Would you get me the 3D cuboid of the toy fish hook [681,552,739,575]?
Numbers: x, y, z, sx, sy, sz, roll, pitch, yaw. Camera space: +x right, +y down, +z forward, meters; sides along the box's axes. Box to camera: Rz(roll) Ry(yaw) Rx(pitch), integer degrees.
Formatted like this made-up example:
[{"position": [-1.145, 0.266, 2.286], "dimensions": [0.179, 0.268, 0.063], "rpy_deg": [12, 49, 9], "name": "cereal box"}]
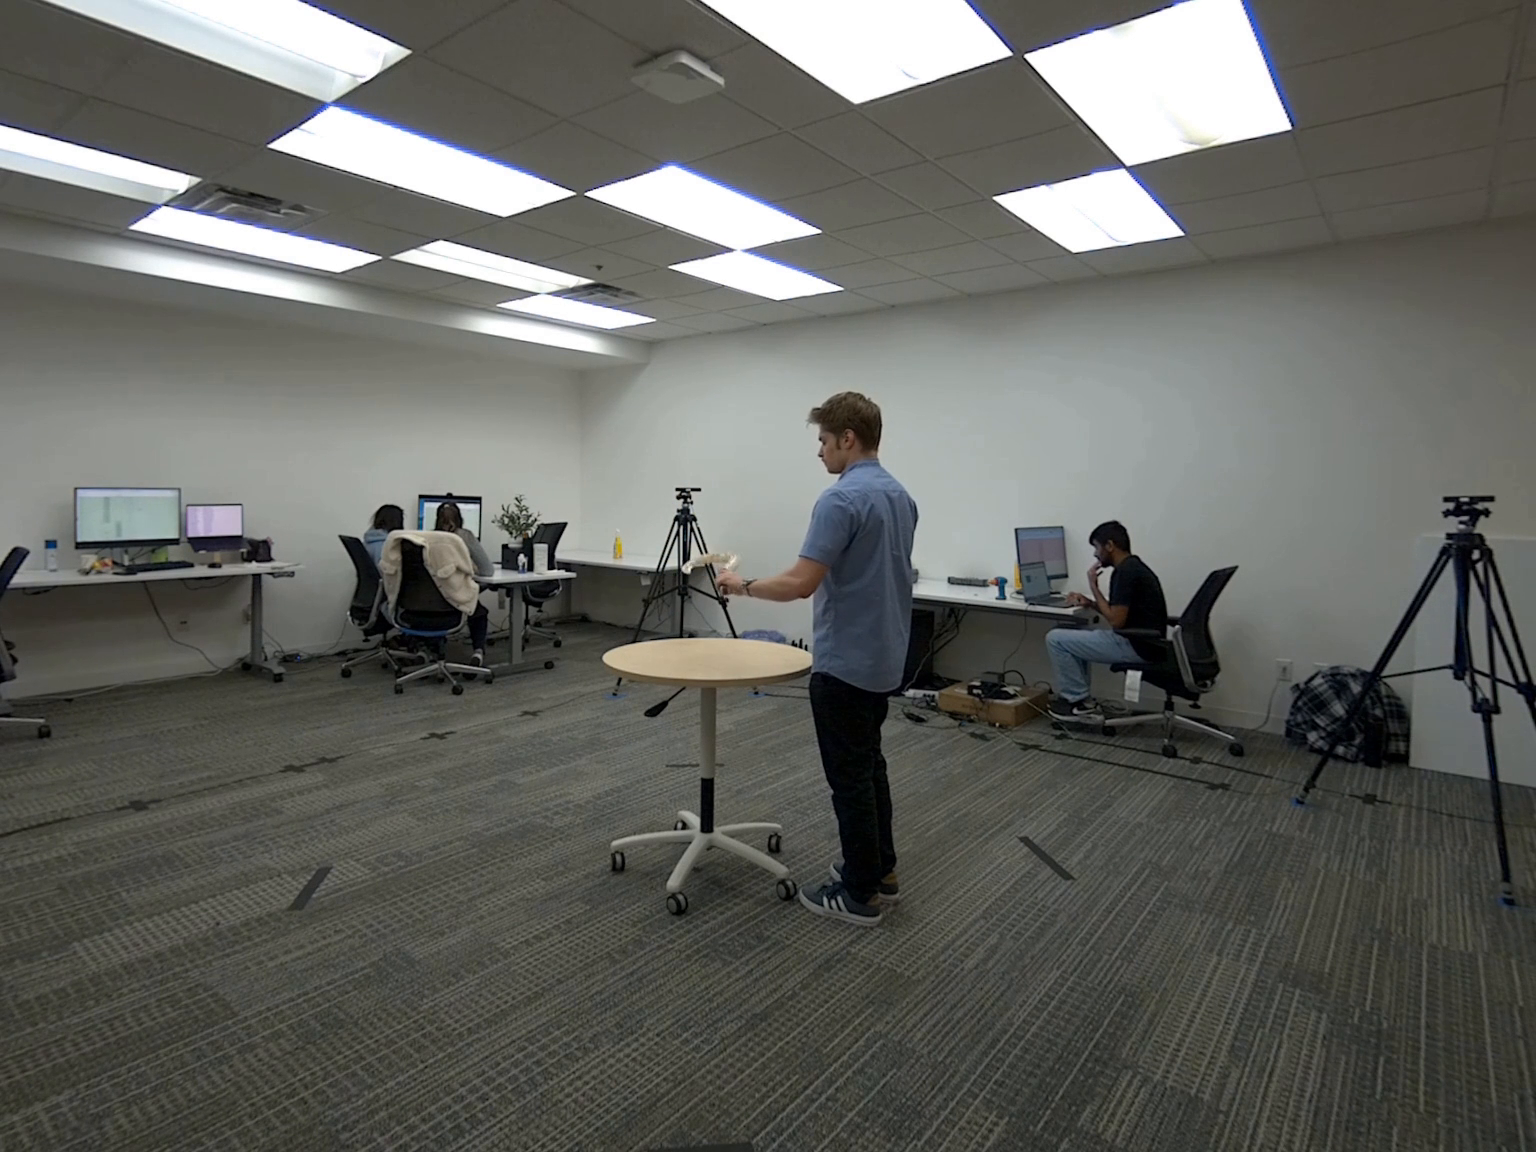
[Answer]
[{"position": [-0.214, -0.007, 3.019], "dimensions": [0.224, 0.047, 0.515], "rpy_deg": [-14, 16, -1], "name": "toy fish hook"}]
